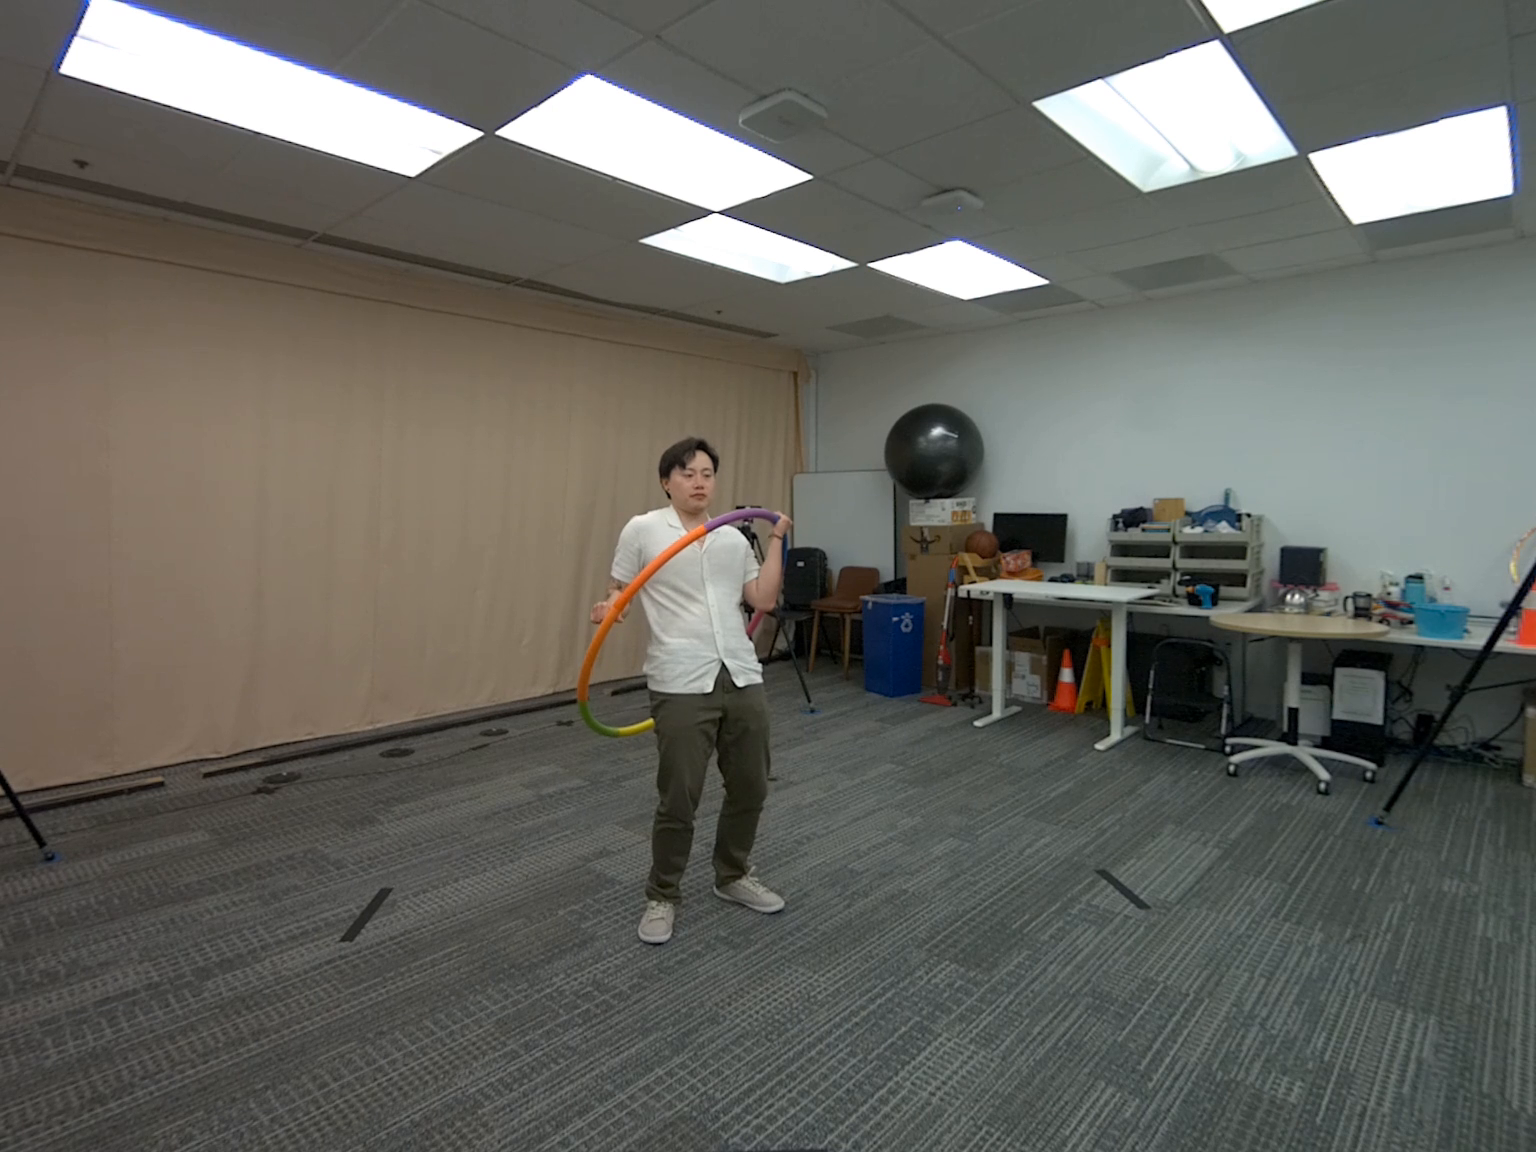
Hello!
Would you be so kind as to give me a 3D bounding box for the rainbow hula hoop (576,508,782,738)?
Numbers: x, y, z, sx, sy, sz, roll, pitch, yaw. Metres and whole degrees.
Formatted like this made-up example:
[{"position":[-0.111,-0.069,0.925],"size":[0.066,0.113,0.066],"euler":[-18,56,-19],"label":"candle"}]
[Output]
[{"position":[-0.262,0.175,2.980],"size":[0.036,0.978,0.952],"euler":[39,22,23],"label":"rainbow hula hoop"}]
